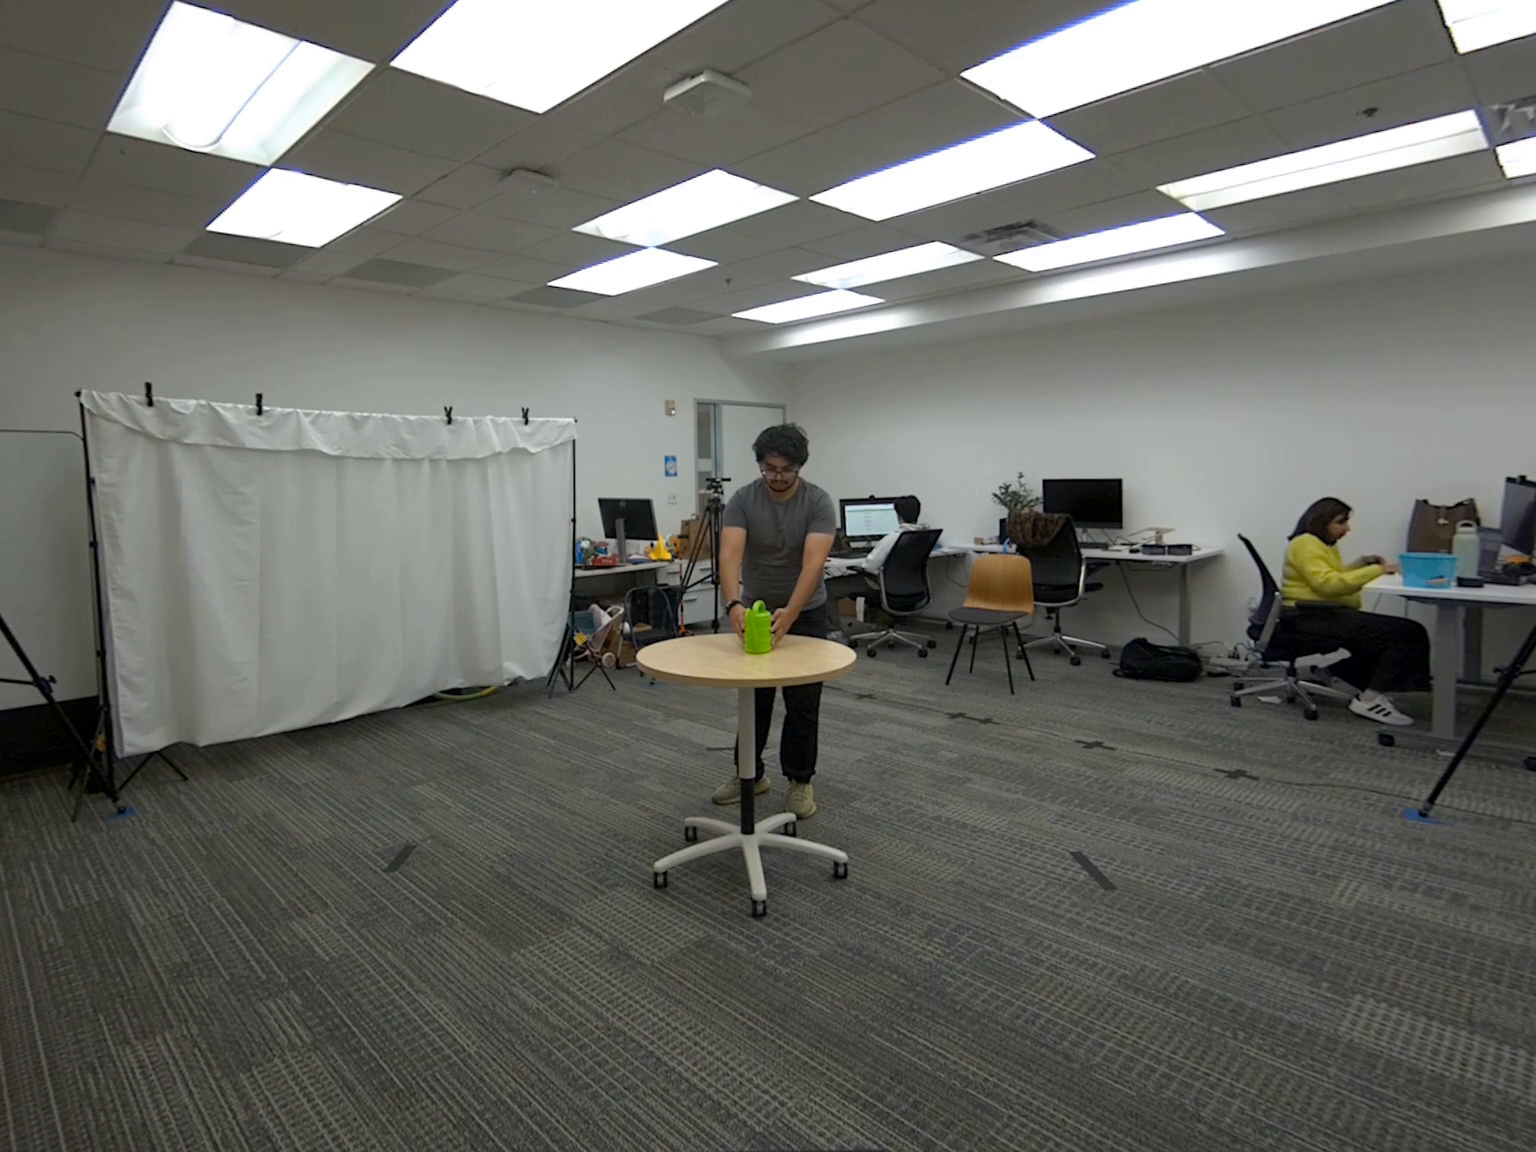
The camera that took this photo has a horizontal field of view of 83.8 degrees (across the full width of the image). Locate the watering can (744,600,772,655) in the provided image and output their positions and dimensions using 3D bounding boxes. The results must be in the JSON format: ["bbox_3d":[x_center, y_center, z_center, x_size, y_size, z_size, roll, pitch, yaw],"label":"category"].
[{"bbox_3d":[-0.048,0.184,2.996,0.100,0.176,0.273,6,5,20],"label":"watering can"}]
